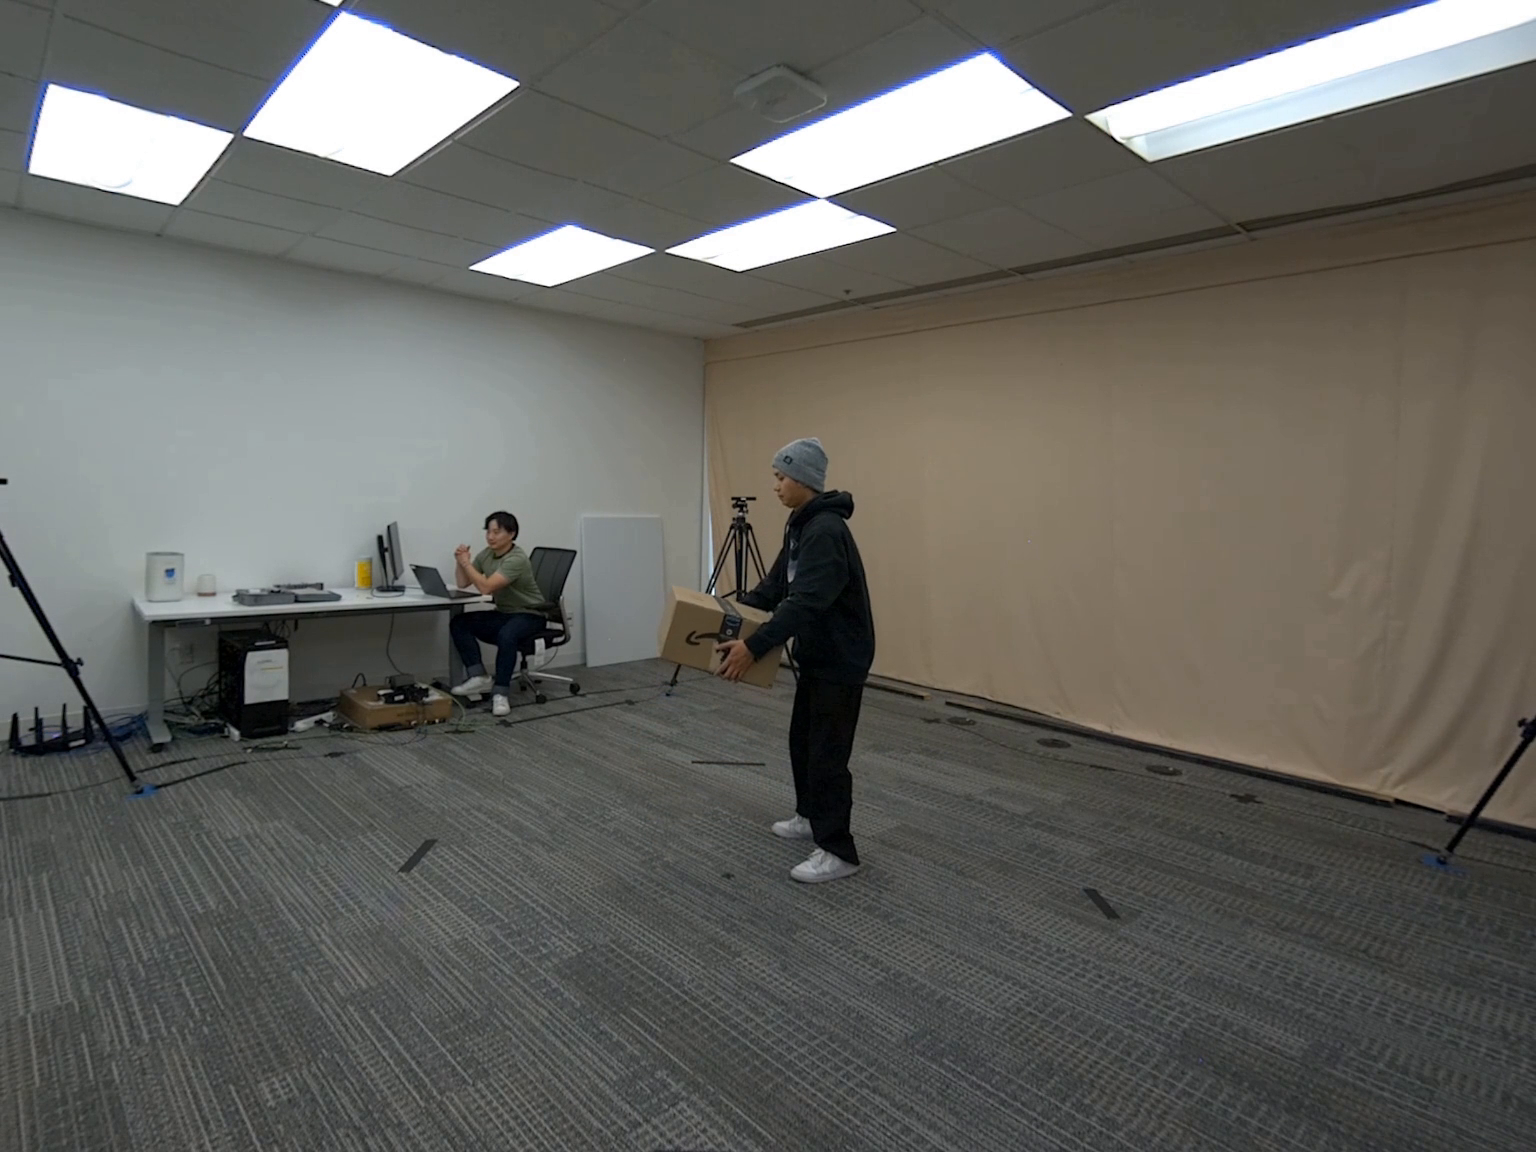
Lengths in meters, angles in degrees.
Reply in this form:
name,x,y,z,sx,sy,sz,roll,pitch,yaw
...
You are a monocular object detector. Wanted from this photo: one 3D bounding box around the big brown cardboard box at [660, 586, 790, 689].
name,x,y,z,sx,sy,sz,roll,pitch,yaw
big brown cardboard box,-0.191,0.214,3.218,0.416,0.233,0.592,14,2,-5
